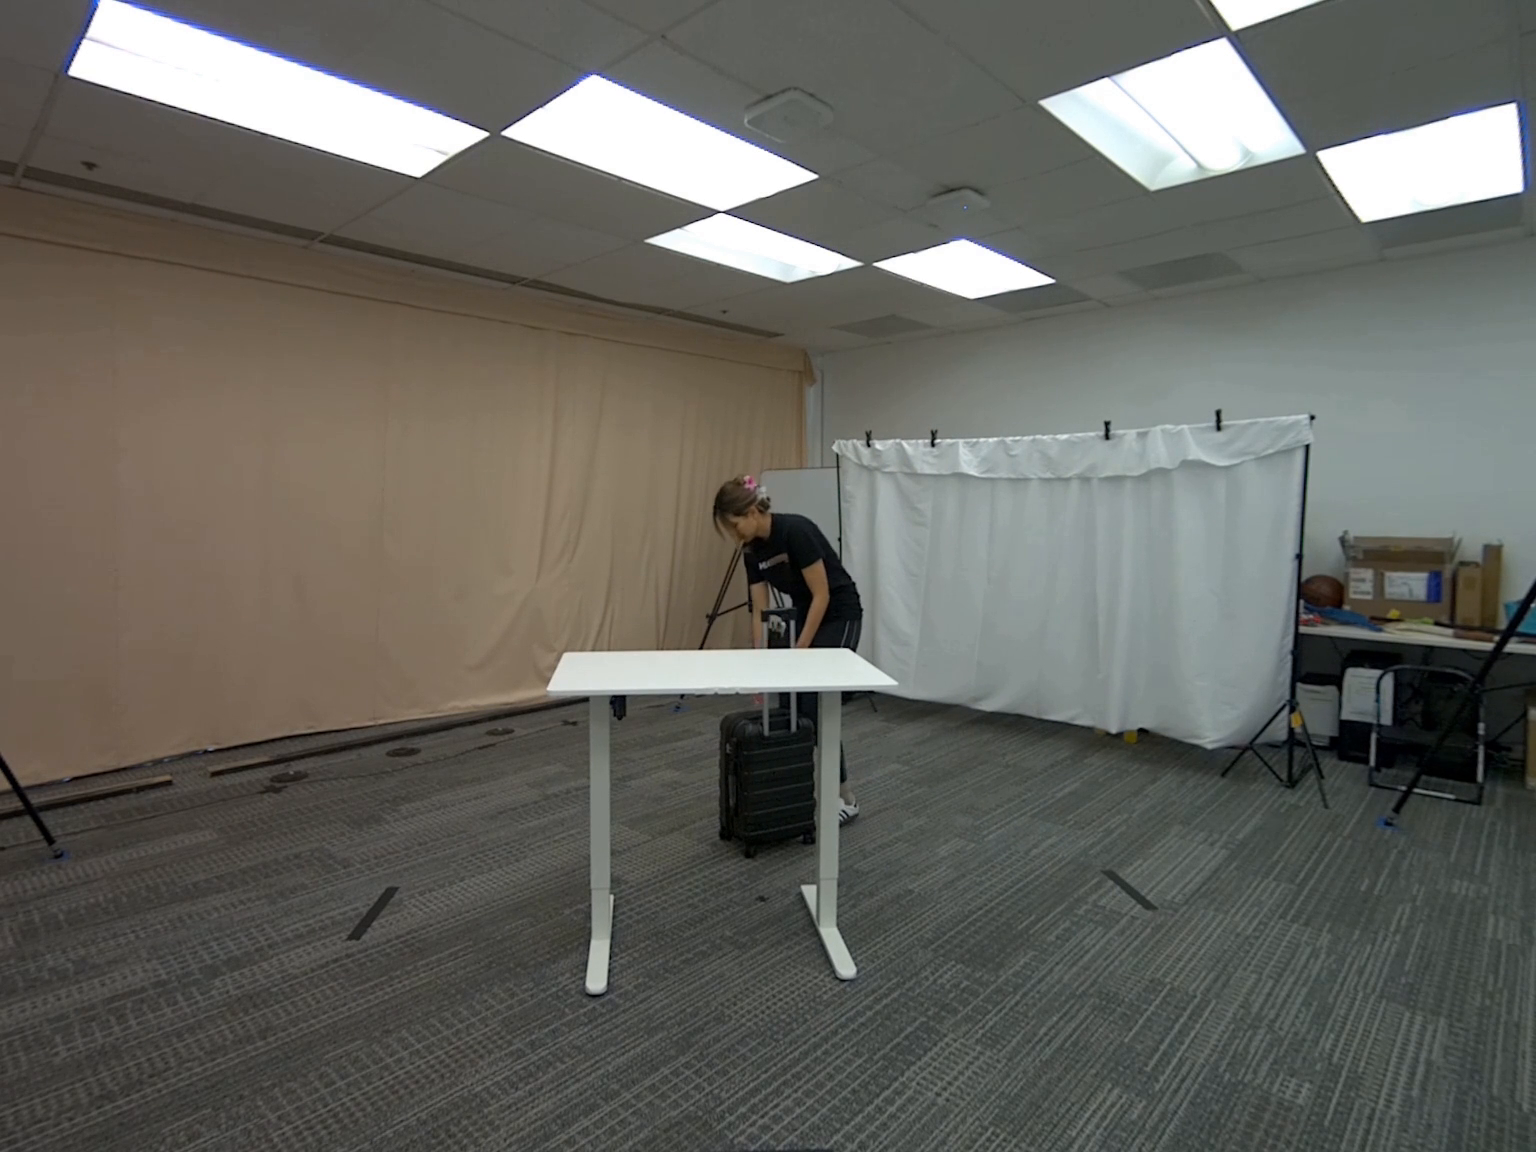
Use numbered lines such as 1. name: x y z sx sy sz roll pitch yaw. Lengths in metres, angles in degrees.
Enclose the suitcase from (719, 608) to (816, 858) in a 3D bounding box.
1. suitcase: -0.017 0.627 3.457 0.375 0.977 0.263 -2 2 -25
